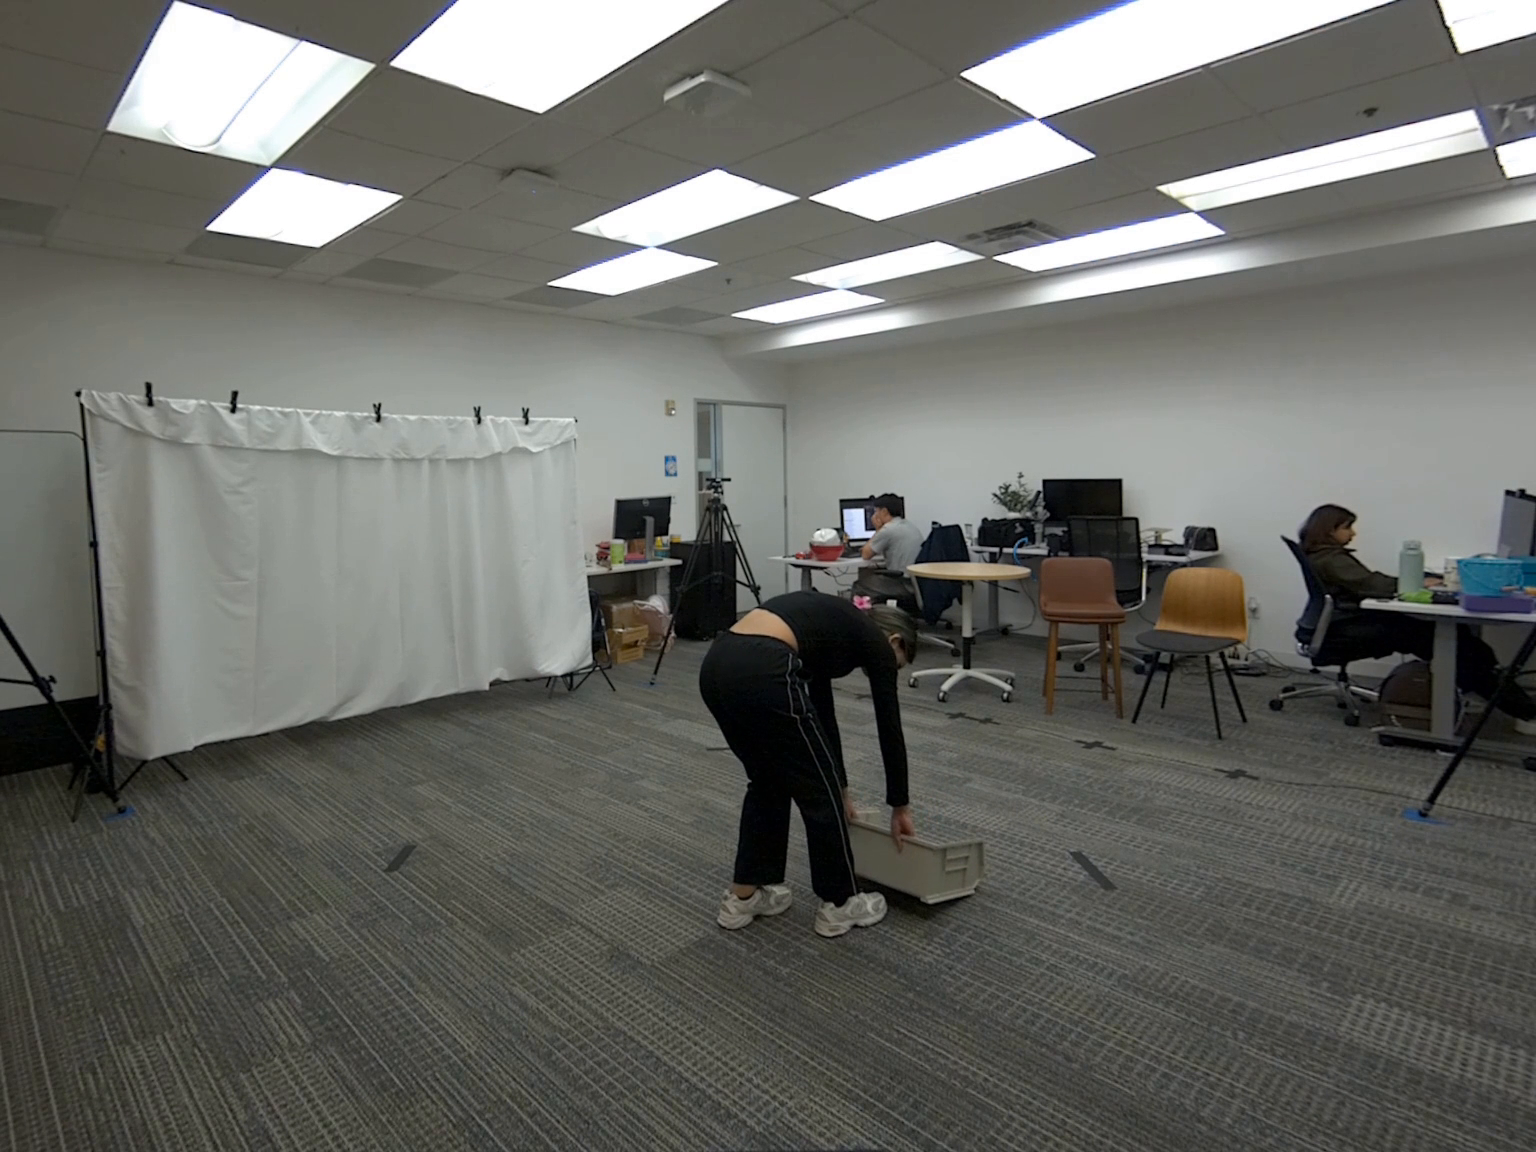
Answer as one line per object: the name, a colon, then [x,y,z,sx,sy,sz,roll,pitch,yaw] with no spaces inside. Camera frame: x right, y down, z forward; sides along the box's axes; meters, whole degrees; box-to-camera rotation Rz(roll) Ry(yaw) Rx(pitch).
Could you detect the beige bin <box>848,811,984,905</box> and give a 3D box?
beige bin: [0.464,0.936,2.912,0.435,0.190,0.364,6,-5,41]
